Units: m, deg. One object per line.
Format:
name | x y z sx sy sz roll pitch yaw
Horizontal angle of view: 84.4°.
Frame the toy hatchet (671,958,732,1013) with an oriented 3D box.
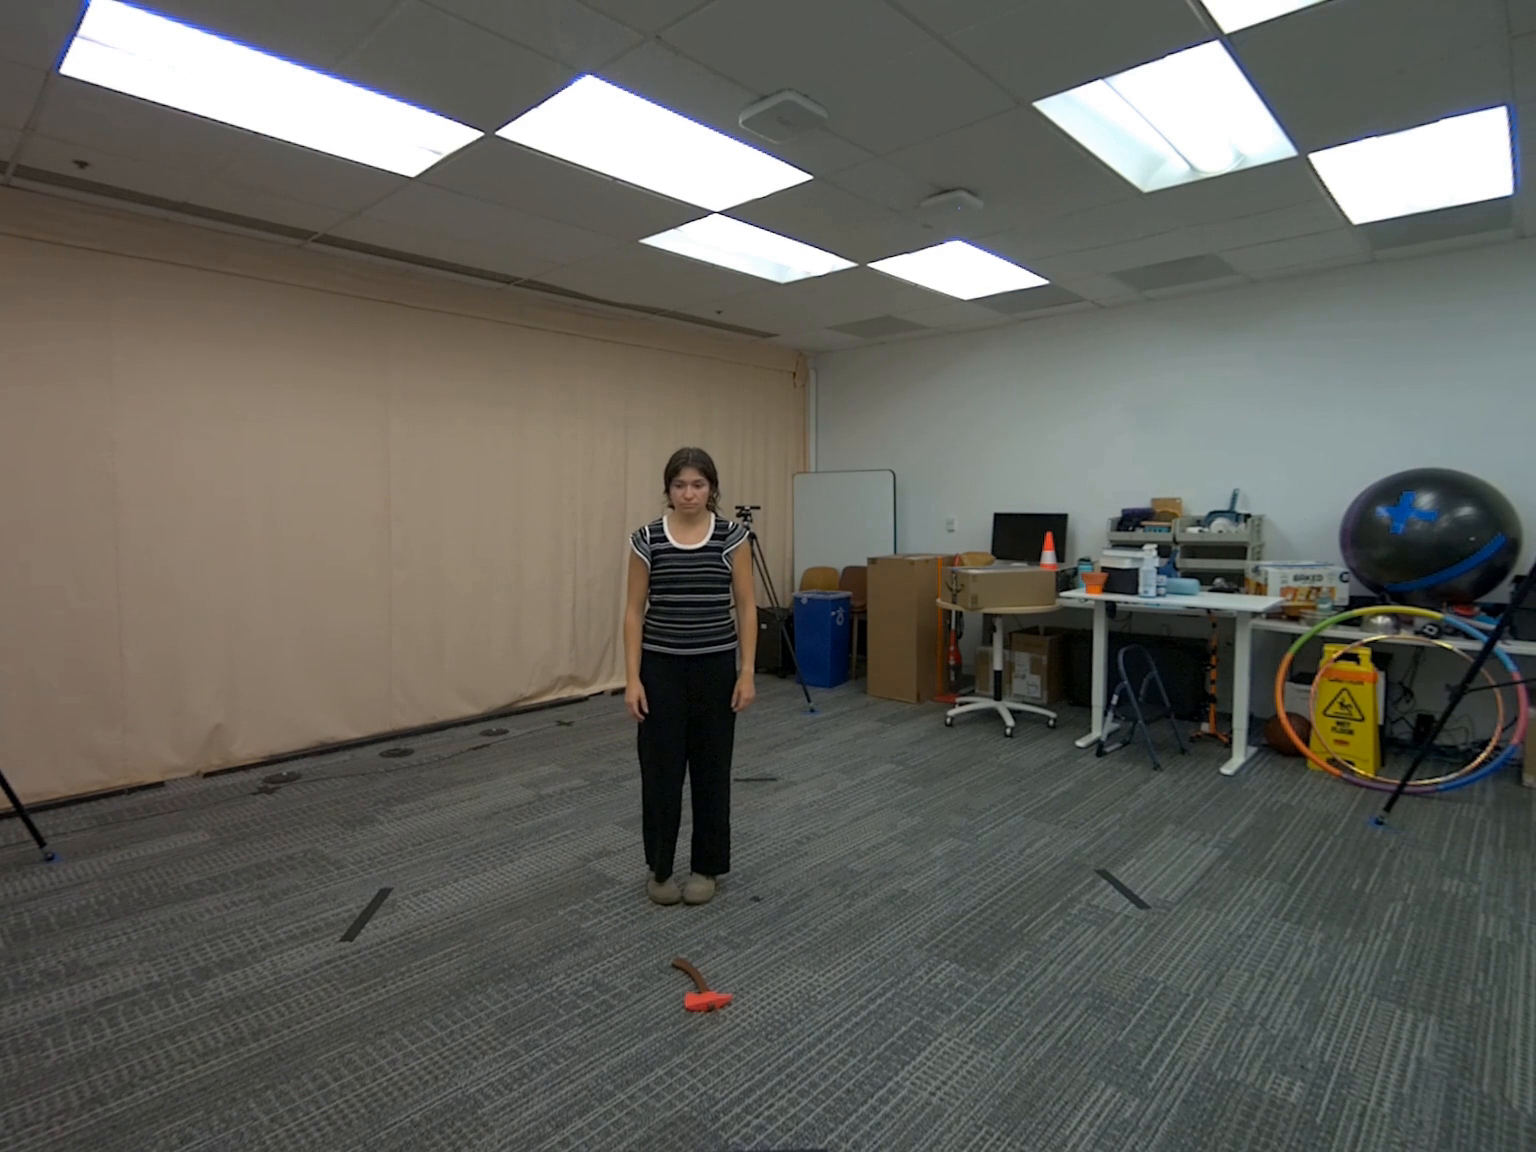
toy hatchet | -0.227 1.172 2.428 0.127 0.029 0.278 -7 6 -36
